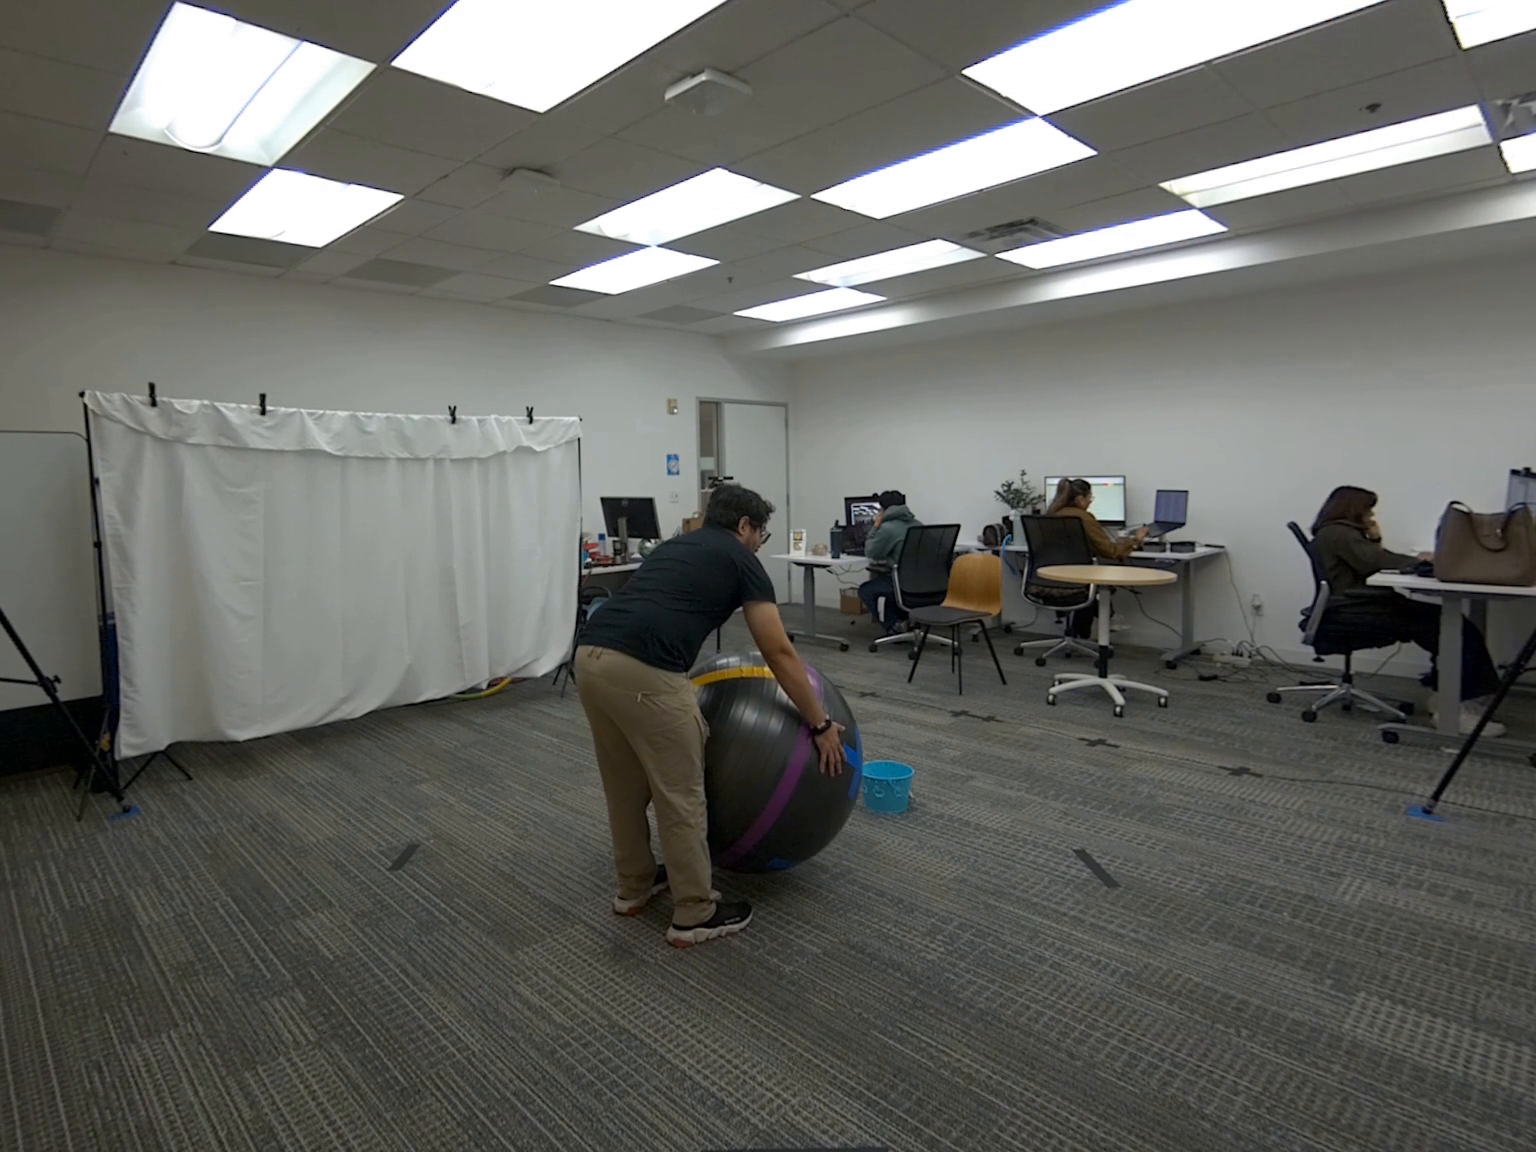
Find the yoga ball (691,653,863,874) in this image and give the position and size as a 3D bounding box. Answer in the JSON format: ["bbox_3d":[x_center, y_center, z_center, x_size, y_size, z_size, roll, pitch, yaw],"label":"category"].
[{"bbox_3d":[-0.050,0.637,2.981,0.757,0.755,0.762,-1,5,-2],"label":"yoga ball"}]
